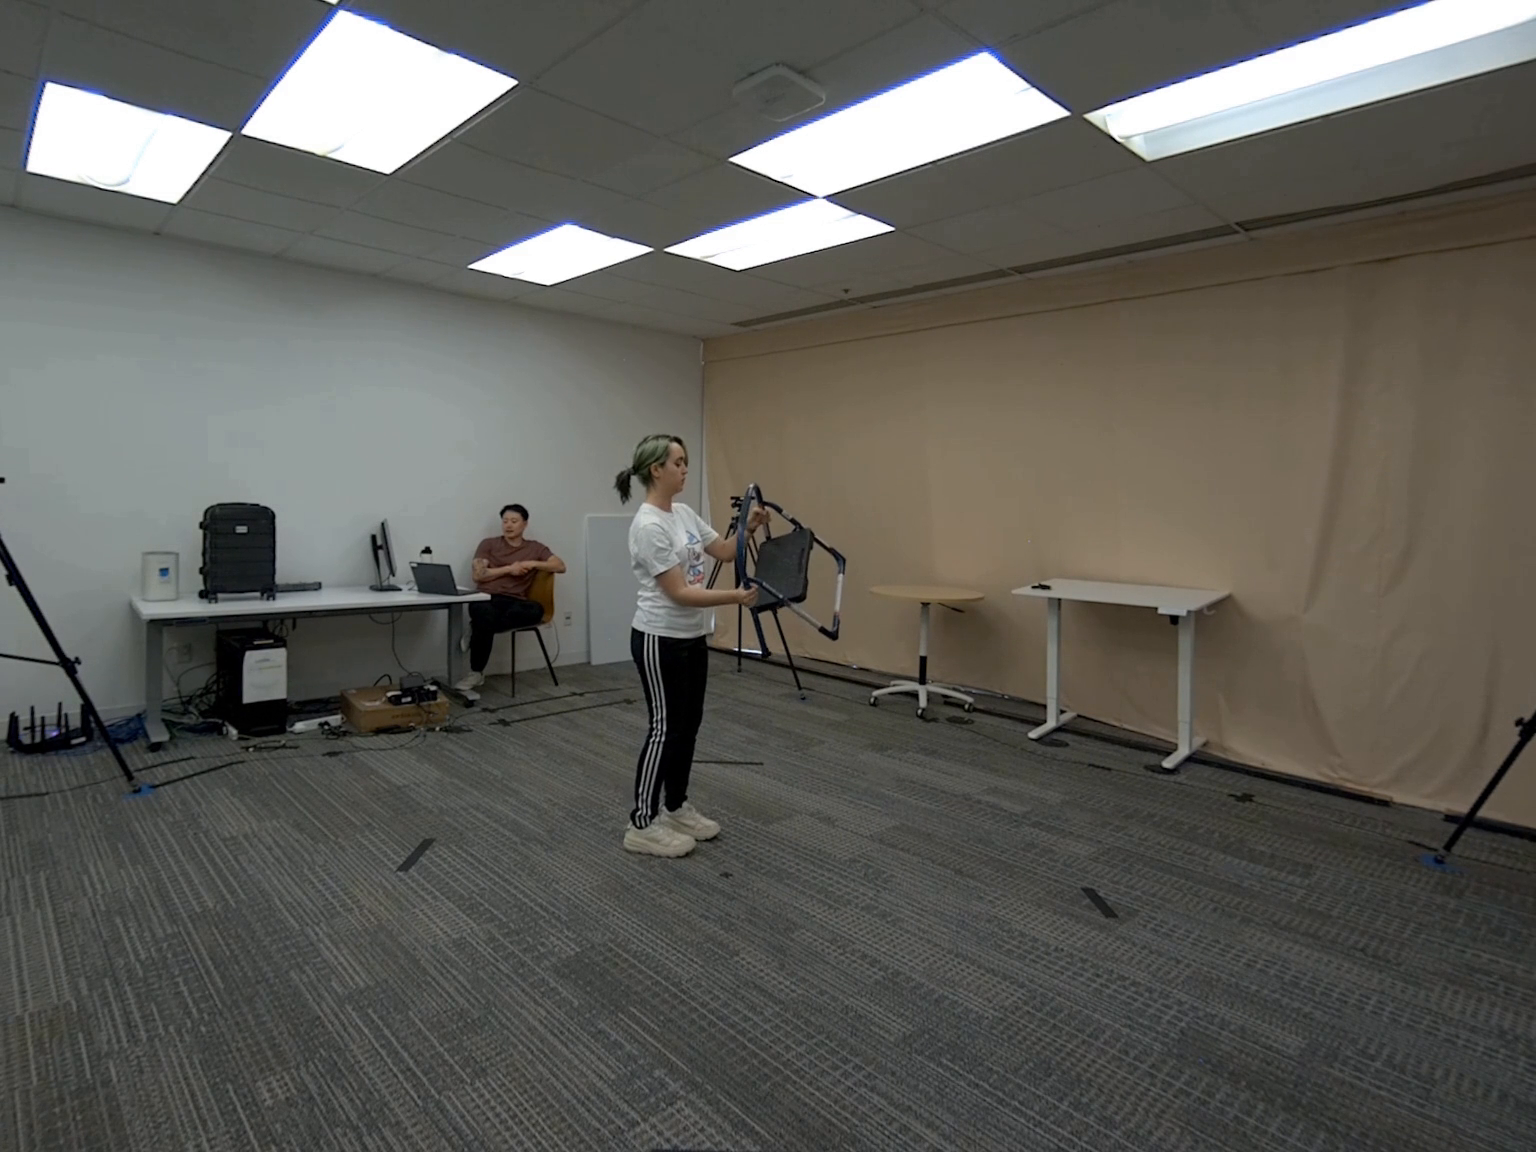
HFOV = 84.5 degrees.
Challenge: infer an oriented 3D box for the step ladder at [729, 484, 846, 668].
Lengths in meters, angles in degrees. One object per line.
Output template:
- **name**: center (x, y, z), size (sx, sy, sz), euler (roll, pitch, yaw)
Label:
- **step ladder**: center (-0.005, -0.054, 3.257), size (0.354, 0.438, 0.588), euler (-16, -47, 28)
